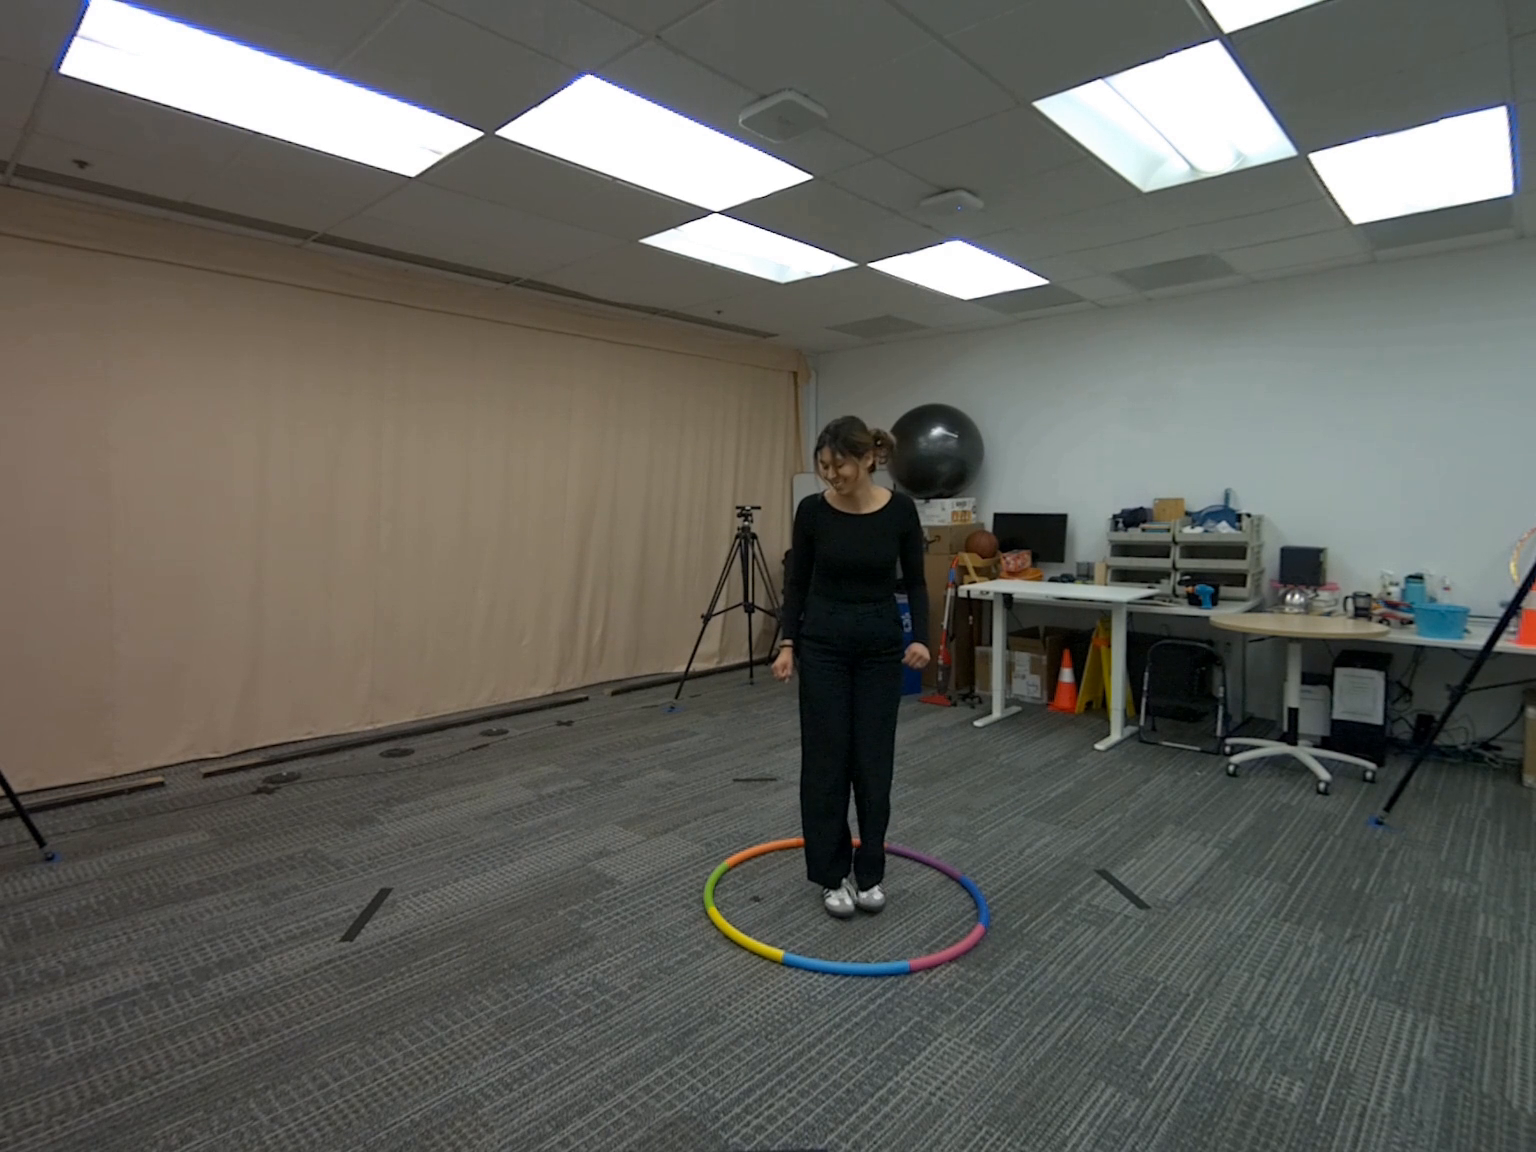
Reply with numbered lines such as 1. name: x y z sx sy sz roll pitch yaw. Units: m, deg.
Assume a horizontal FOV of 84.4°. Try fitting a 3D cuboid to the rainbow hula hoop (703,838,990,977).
1. rainbow hula hoop: 0.263 1.117 2.971 0.978 0.035 0.982 0 5 -2
